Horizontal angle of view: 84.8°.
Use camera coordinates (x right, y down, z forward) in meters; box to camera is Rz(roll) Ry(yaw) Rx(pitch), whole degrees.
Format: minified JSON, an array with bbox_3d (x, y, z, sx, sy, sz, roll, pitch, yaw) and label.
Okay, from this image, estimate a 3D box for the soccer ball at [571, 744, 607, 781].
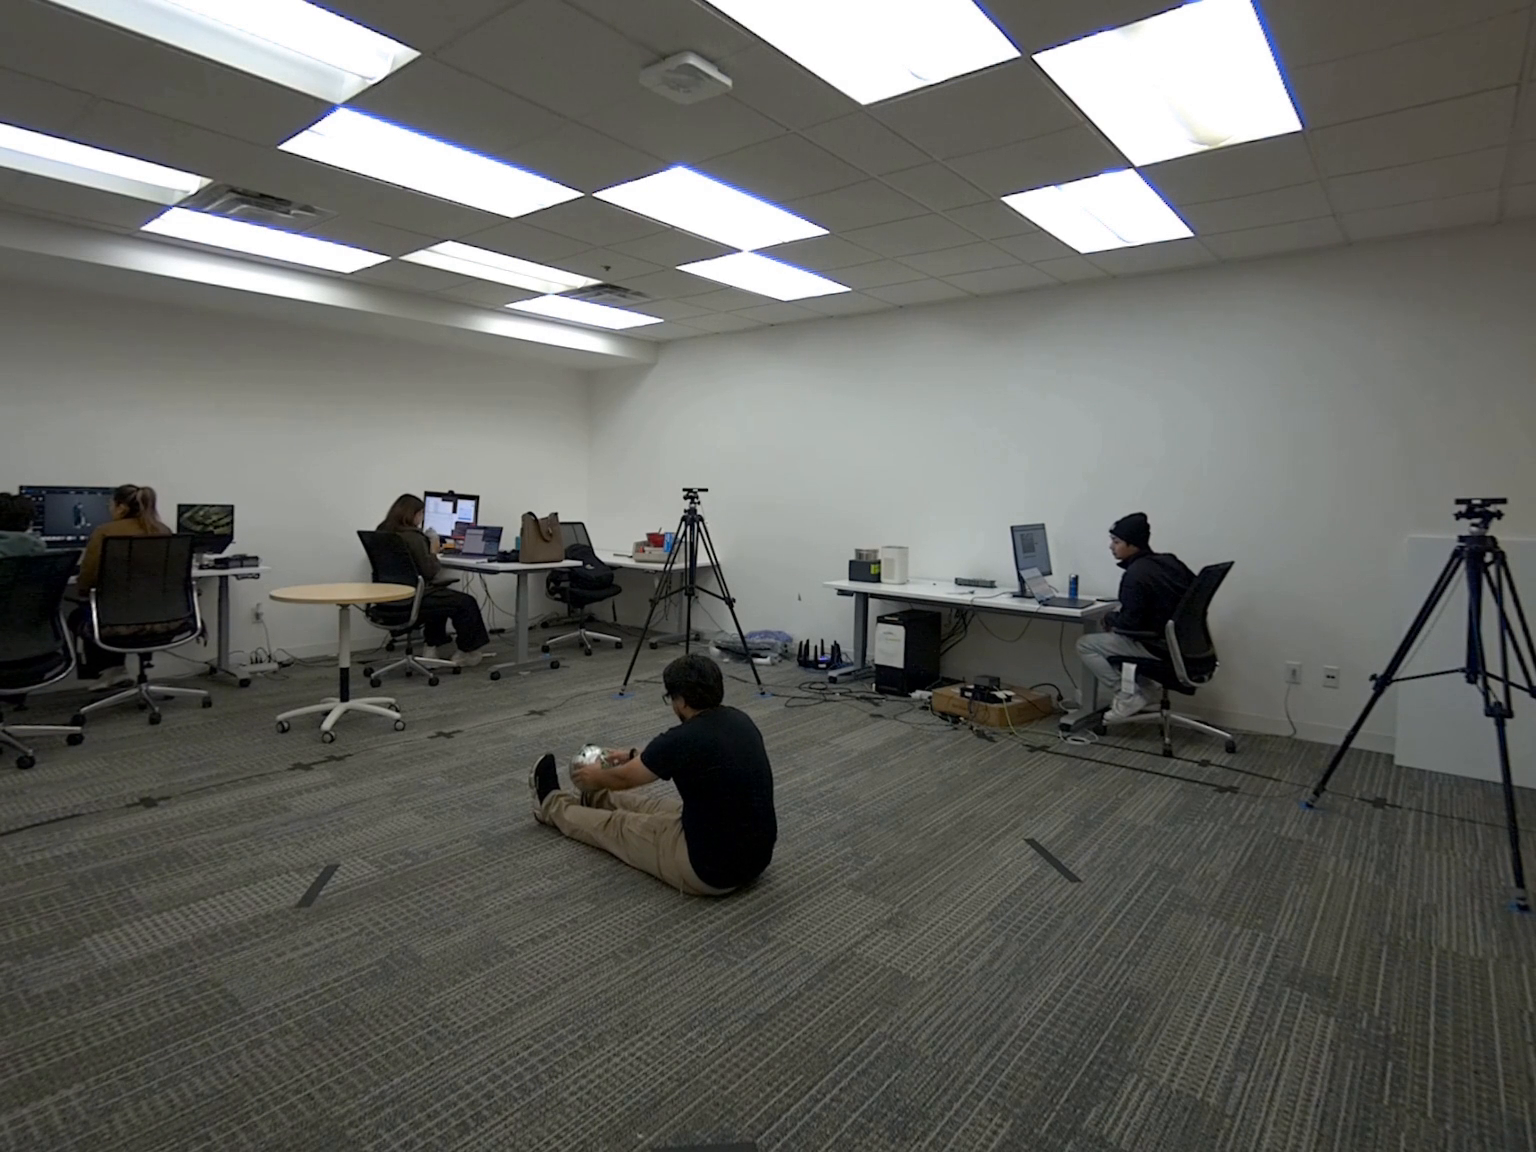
[{"bbox_3d":[-0.728,0.783,3.472,0.187,0.187,0.188,0,4,-2],"label":"soccer ball"}]
